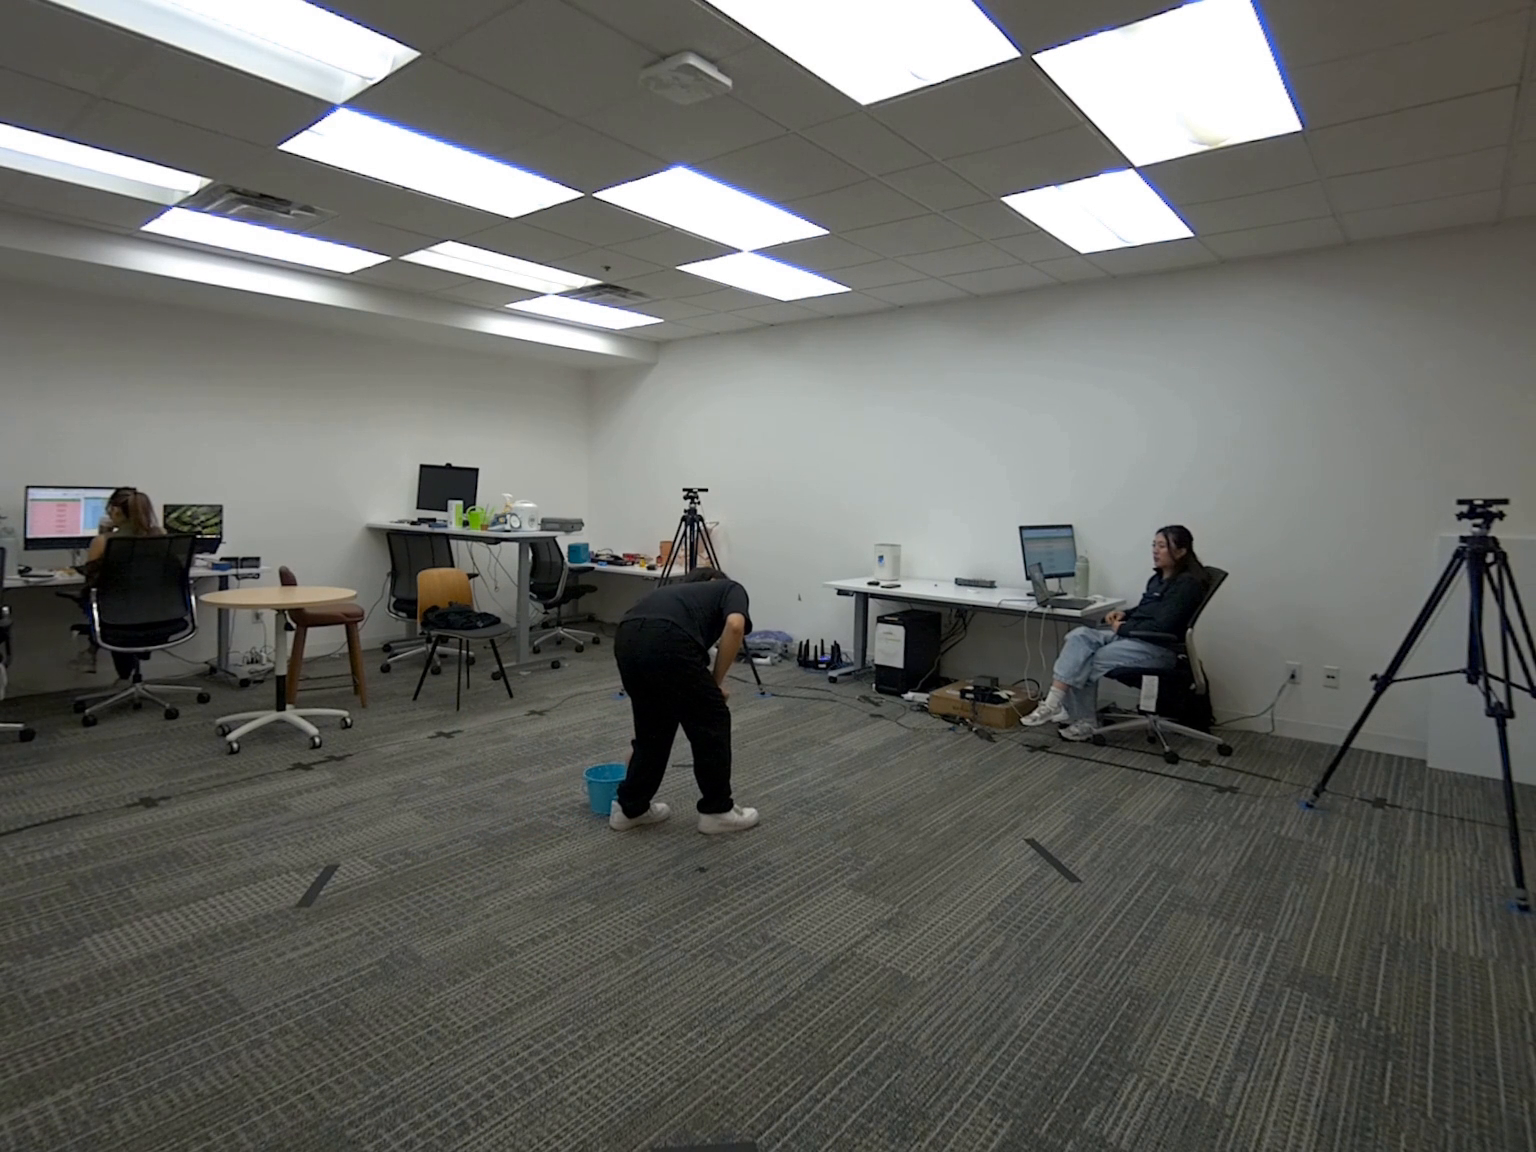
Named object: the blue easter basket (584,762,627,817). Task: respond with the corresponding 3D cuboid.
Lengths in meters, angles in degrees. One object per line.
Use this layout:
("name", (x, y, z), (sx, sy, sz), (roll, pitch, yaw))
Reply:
("blue easter basket", (-0.701, 0.925, 3.704), (0.243, 0.155, 0.245), (-2, 6, -2))
